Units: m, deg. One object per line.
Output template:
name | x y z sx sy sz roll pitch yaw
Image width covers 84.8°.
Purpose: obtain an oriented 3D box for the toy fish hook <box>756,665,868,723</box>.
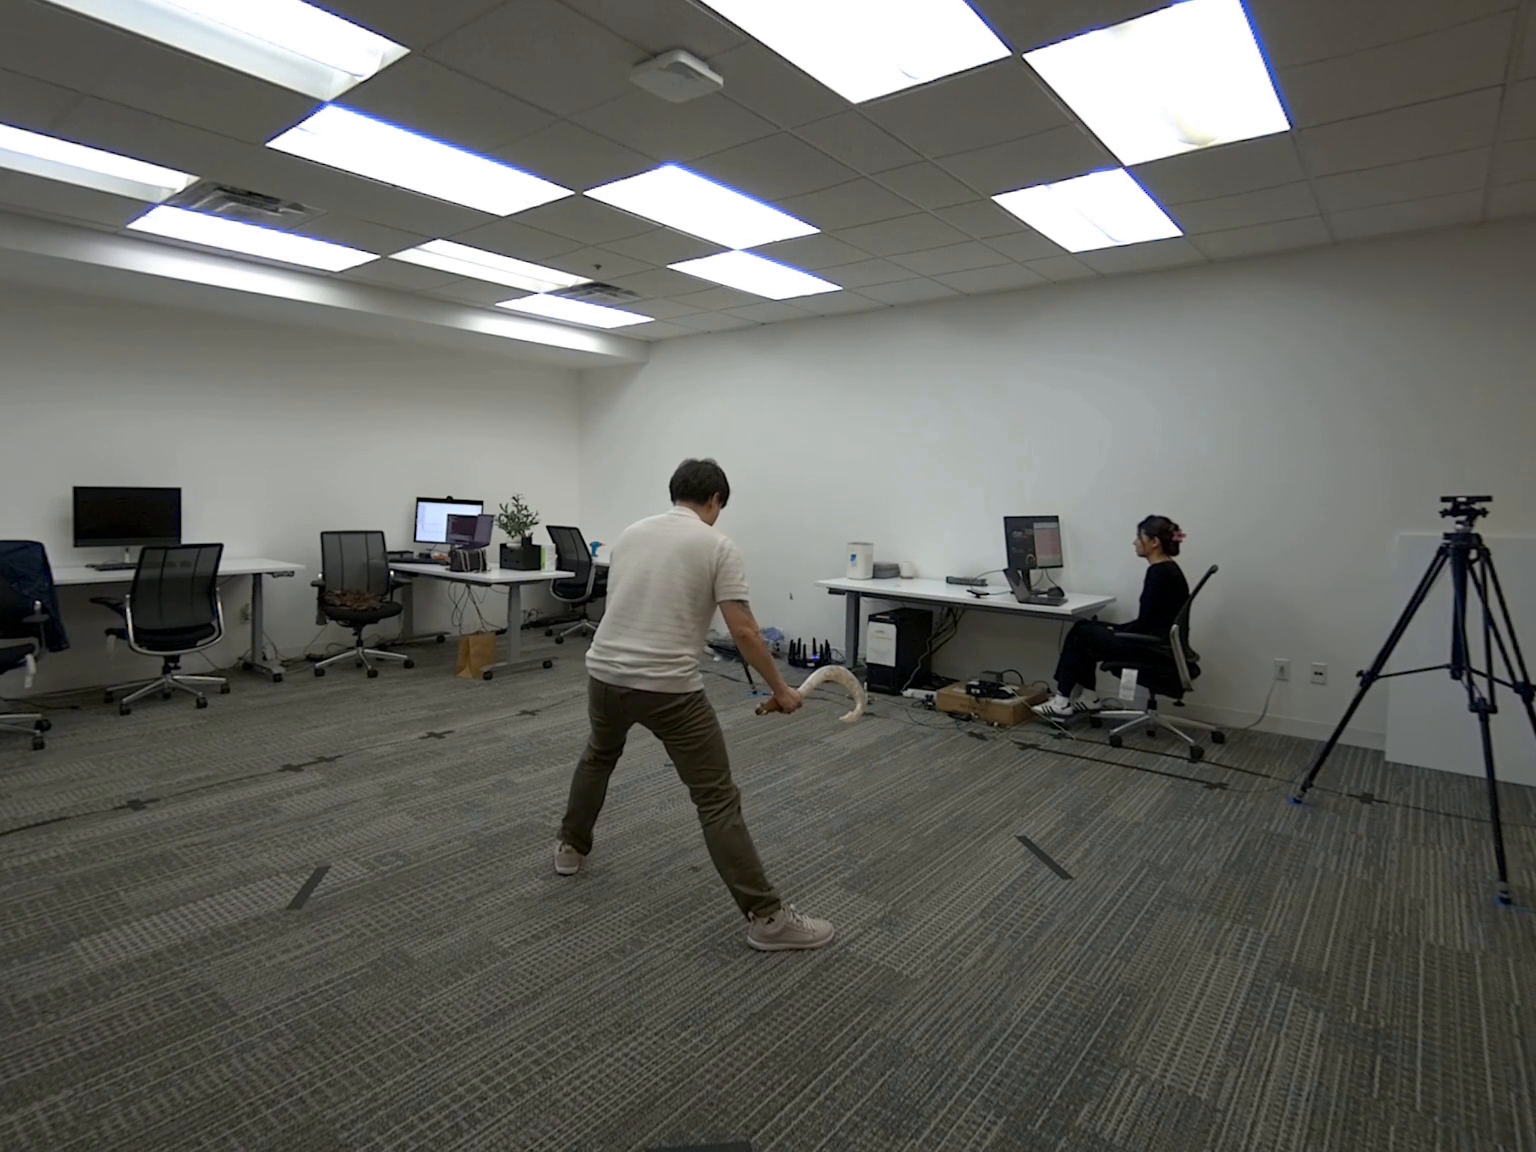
toy fish hook | 0.151 0.449 2.918 0.494 0.048 0.232 -14 55 -41
